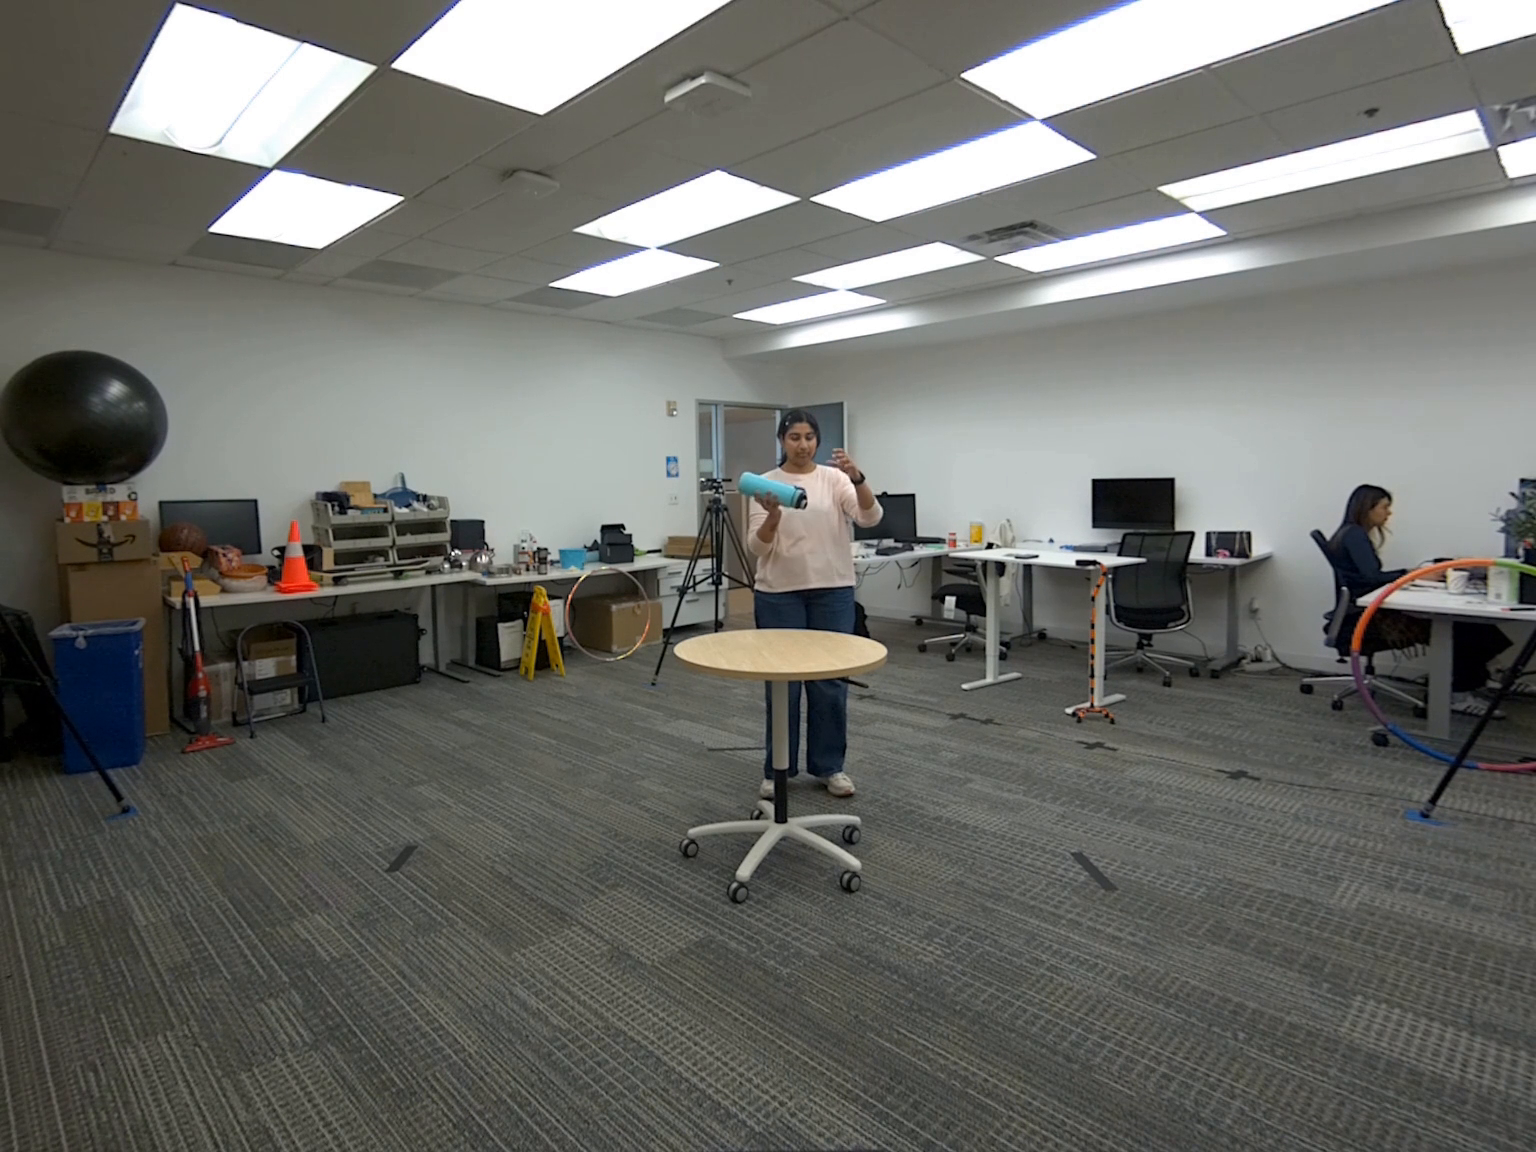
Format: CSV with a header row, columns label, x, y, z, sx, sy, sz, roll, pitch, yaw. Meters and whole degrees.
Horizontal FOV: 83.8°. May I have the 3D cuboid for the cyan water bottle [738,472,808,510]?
label,x,y,z,sx,sy,sz,roll,pitch,yaw
cyan water bottle,0.028,-0.337,3.418,0.290,0.092,0.091,18,11,19
